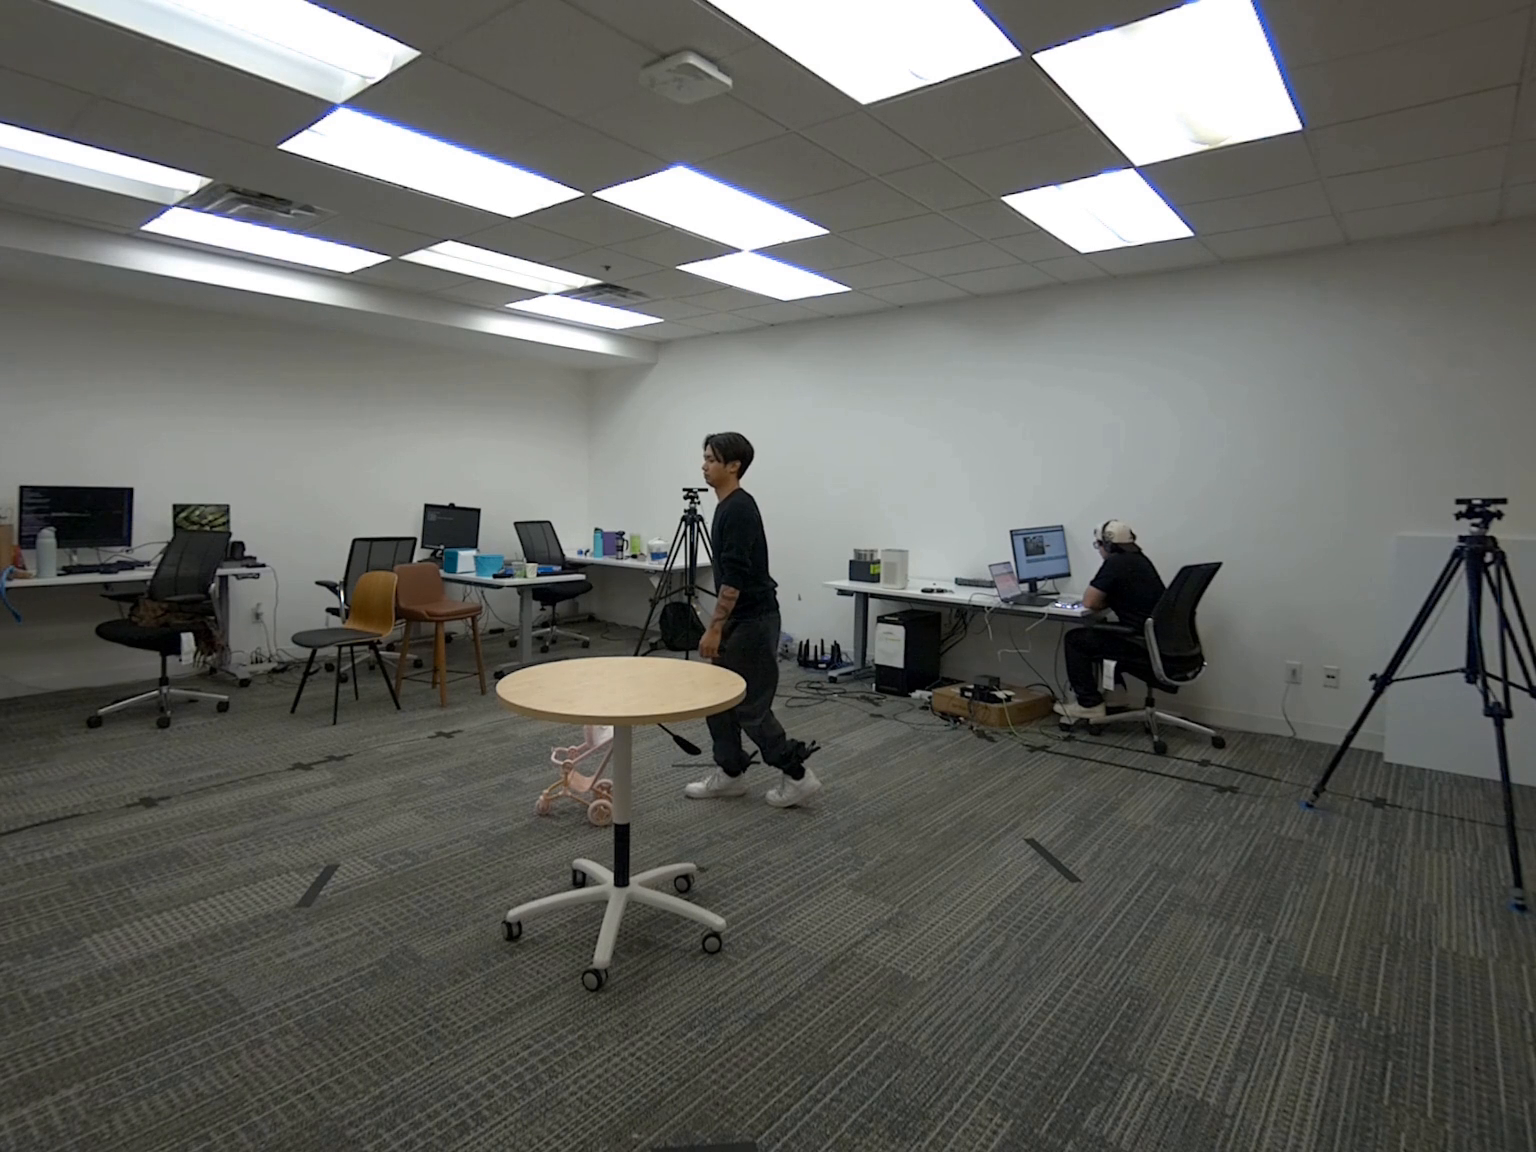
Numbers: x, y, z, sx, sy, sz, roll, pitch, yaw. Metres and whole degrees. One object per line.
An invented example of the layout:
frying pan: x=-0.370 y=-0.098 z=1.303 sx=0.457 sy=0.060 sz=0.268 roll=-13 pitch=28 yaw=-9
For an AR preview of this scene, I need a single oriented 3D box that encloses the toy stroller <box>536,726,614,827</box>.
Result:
toy stroller: x=-0.779 y=0.788 z=3.609 sx=0.341 sy=0.534 sz=0.282 roll=16 pitch=3 yaw=-1
